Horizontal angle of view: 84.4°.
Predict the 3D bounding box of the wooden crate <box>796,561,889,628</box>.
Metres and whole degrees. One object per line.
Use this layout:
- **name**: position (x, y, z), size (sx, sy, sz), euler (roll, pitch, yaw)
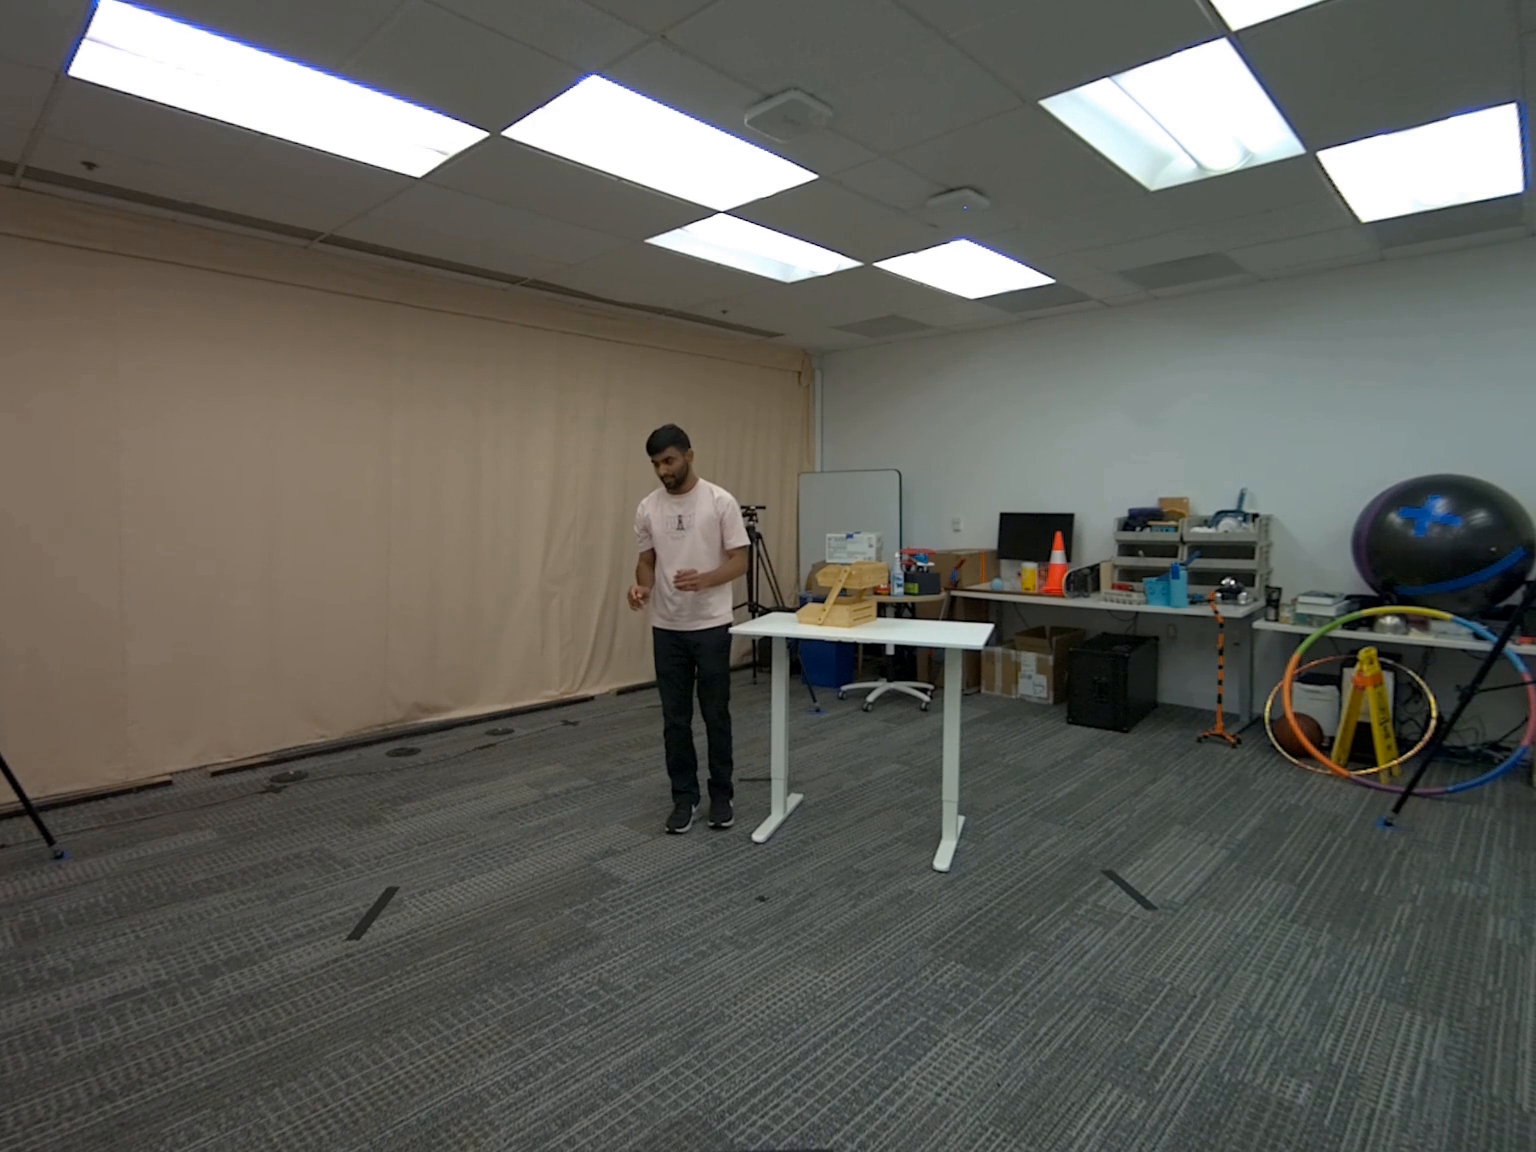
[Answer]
- **wooden crate**: position (0.327, 0.071, 3.678), size (0.311, 0.272, 0.316), euler (3, 5, 31)
